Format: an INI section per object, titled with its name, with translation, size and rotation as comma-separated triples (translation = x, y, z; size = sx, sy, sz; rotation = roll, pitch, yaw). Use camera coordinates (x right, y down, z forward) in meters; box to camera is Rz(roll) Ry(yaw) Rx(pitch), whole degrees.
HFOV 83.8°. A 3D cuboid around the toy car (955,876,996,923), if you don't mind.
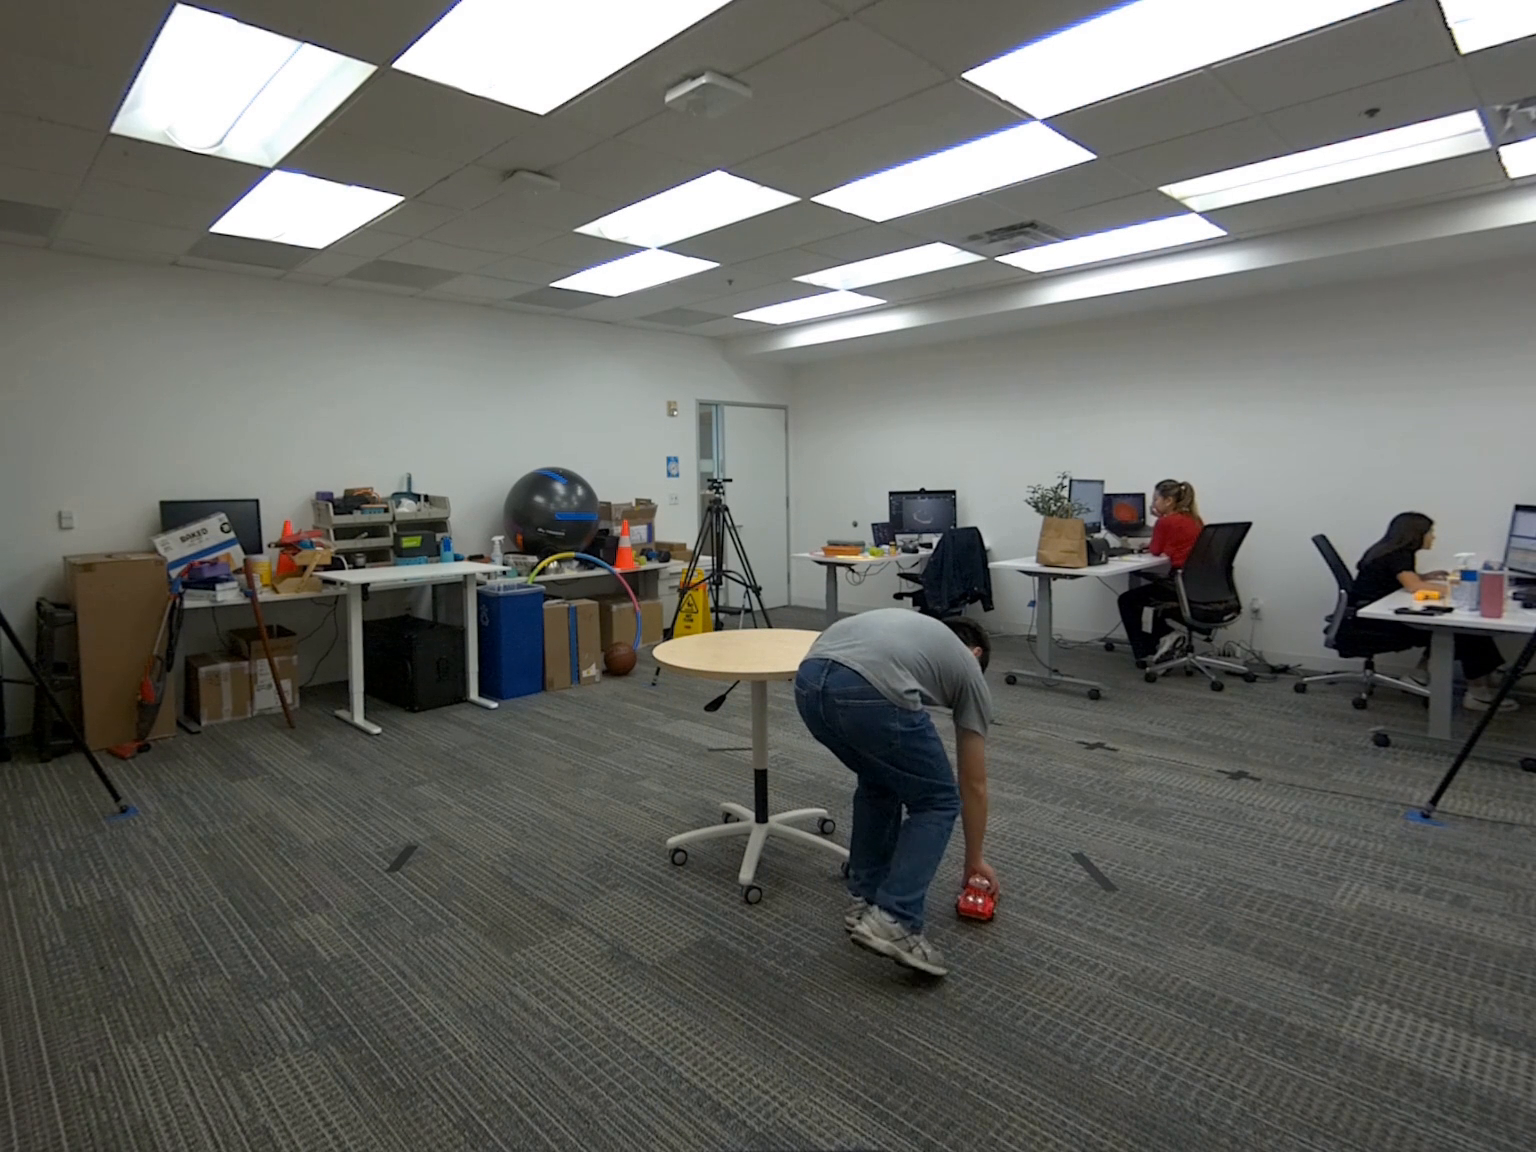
[toy car]
translation = 0.684, 1.042, 2.750
size = 0.133, 0.083, 0.248
rotation = 4, -3, 22
